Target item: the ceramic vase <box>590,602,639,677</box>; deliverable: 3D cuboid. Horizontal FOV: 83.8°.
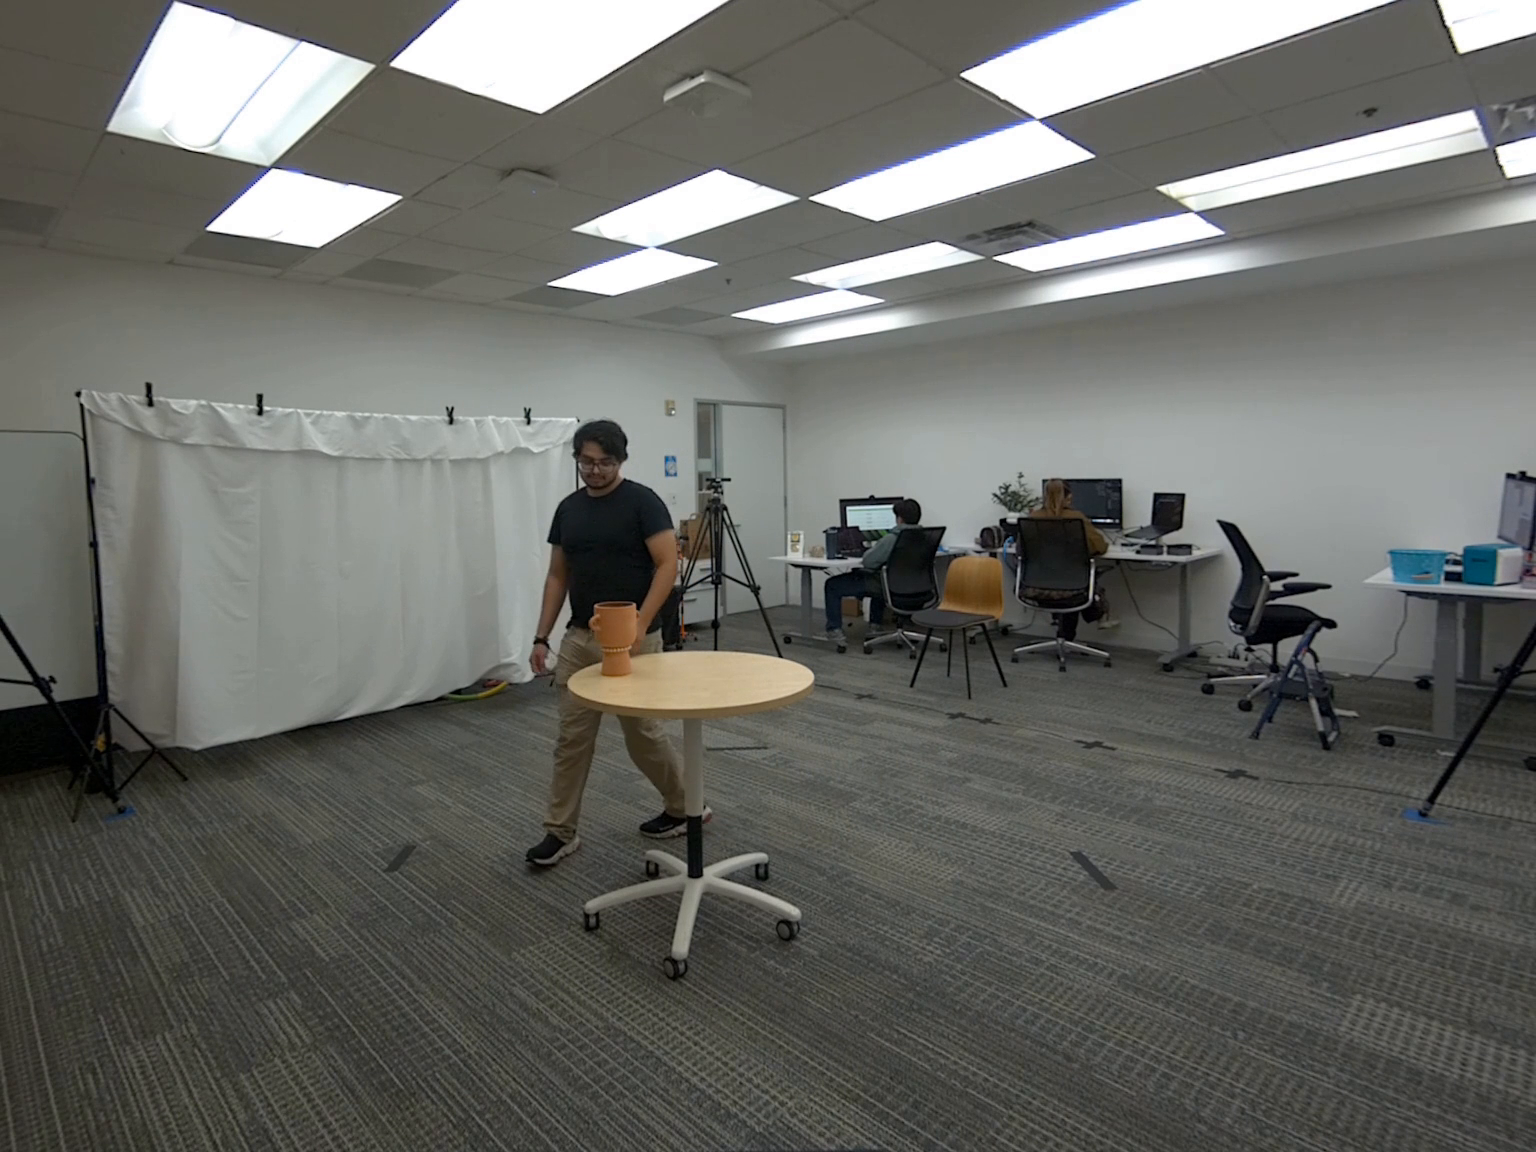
[{"bbox_3d":[-0.481,0.200,2.728,0.158,0.219,0.136,-1,5,-7],"label":"ceramic vase"}]
